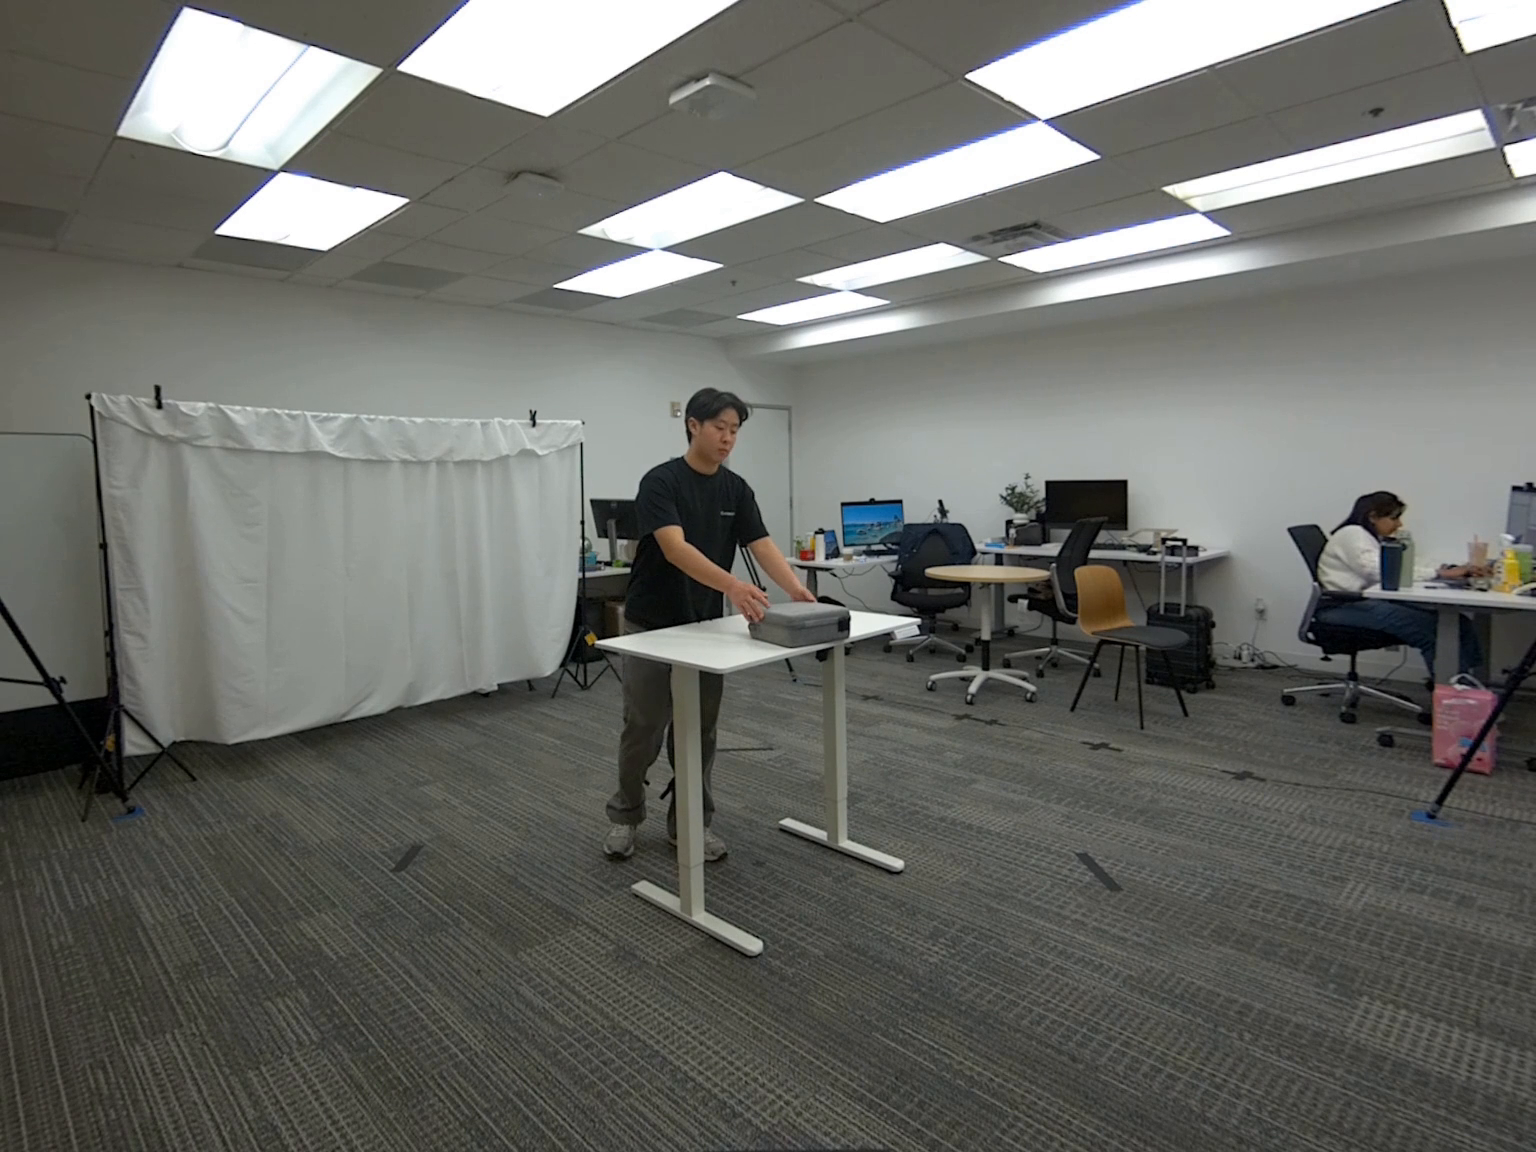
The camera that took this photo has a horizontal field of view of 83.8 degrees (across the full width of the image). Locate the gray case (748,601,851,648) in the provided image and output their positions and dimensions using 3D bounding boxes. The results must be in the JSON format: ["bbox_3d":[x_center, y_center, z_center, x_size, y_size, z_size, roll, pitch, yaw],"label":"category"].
[{"bbox_3d":[0.102,0.151,2.744,0.251,0.104,0.268,-7,8,-33],"label":"gray case"}]
